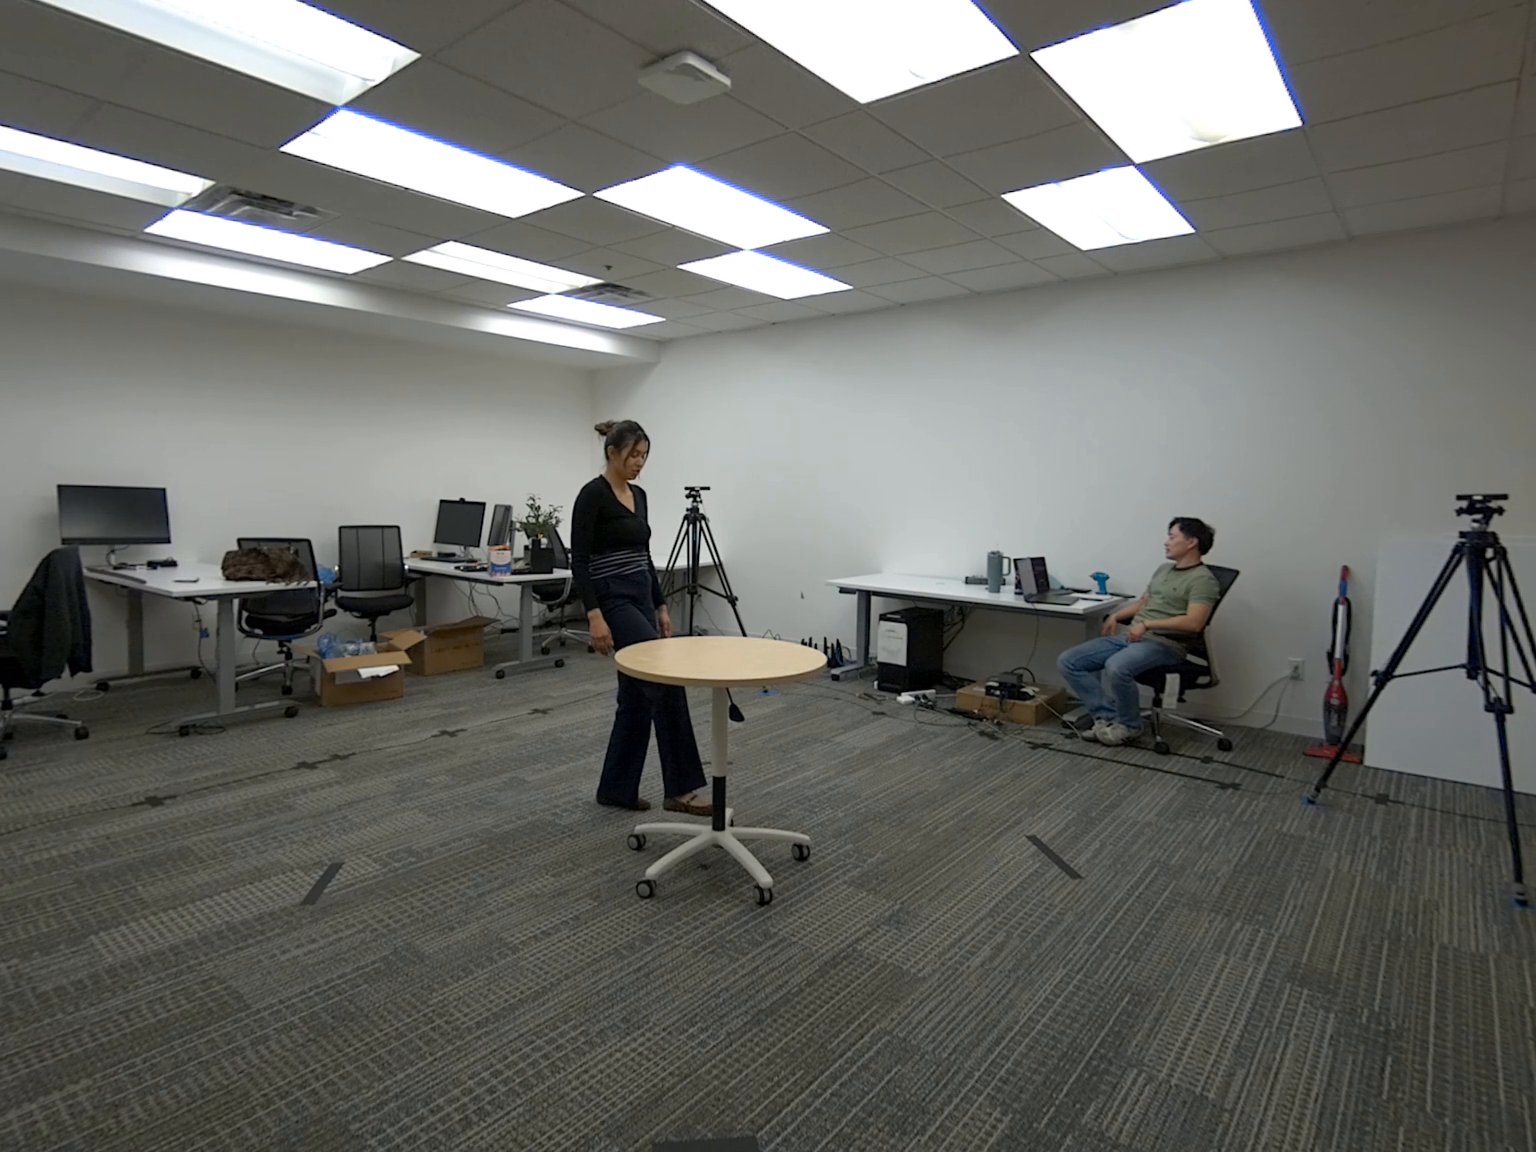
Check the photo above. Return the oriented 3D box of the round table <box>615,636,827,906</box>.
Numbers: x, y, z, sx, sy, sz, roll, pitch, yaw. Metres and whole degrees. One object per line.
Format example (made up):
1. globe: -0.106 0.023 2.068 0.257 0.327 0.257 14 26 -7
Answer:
1. round table: -0.186 0.676 3.106 0.763 0.791 0.768 1 5 -2
